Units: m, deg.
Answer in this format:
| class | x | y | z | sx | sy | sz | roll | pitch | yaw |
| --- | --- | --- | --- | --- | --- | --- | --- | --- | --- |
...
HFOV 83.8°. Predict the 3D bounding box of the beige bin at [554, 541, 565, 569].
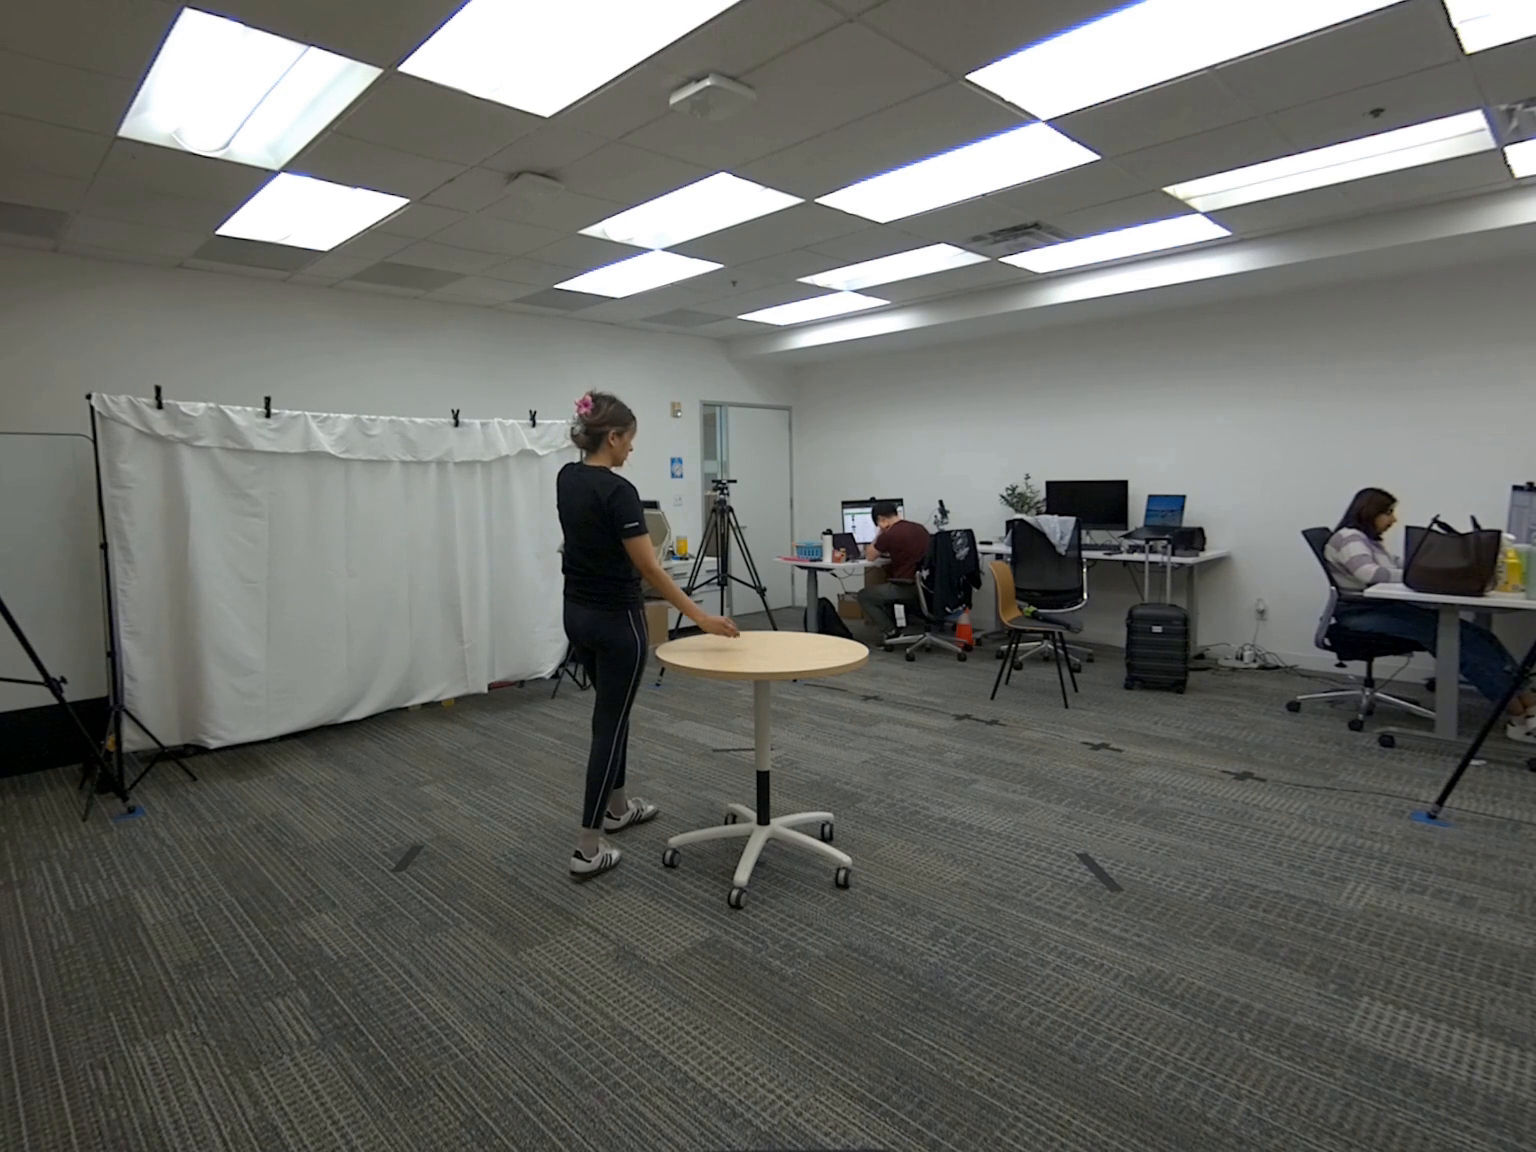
| class | x | y | z | sx | sy | sz | roll | pitch | yaw |
| --- | --- | --- | --- | --- | --- | --- | --- | --- | --- |
| beige bin | -0.610 | -0.112 | 3.507 | 0.379 | 0.185 | 0.430 | 1 | 29 | 4 |
